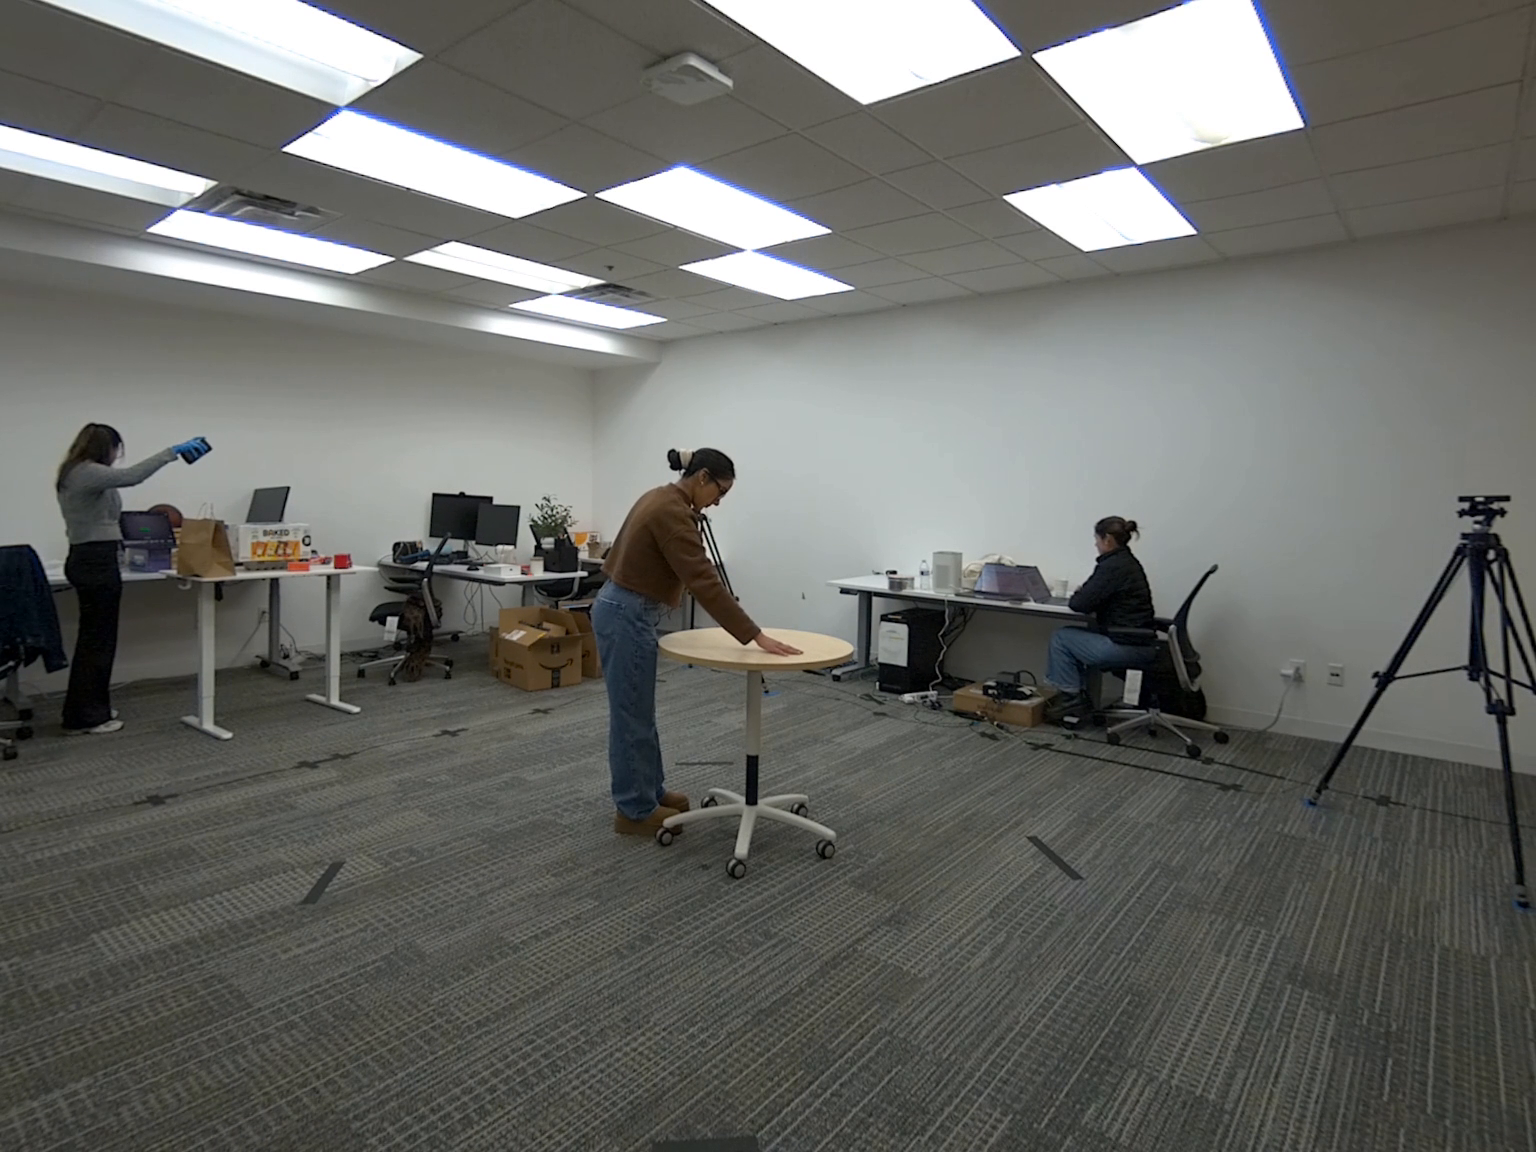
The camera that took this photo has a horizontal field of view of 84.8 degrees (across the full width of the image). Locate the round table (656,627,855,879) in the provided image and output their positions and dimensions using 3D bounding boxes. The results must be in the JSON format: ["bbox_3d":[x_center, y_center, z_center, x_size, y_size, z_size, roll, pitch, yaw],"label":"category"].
[{"bbox_3d":[-0.066,0.656,3.364,0.763,0.791,0.768,1,4,-2],"label":"round table"}]
